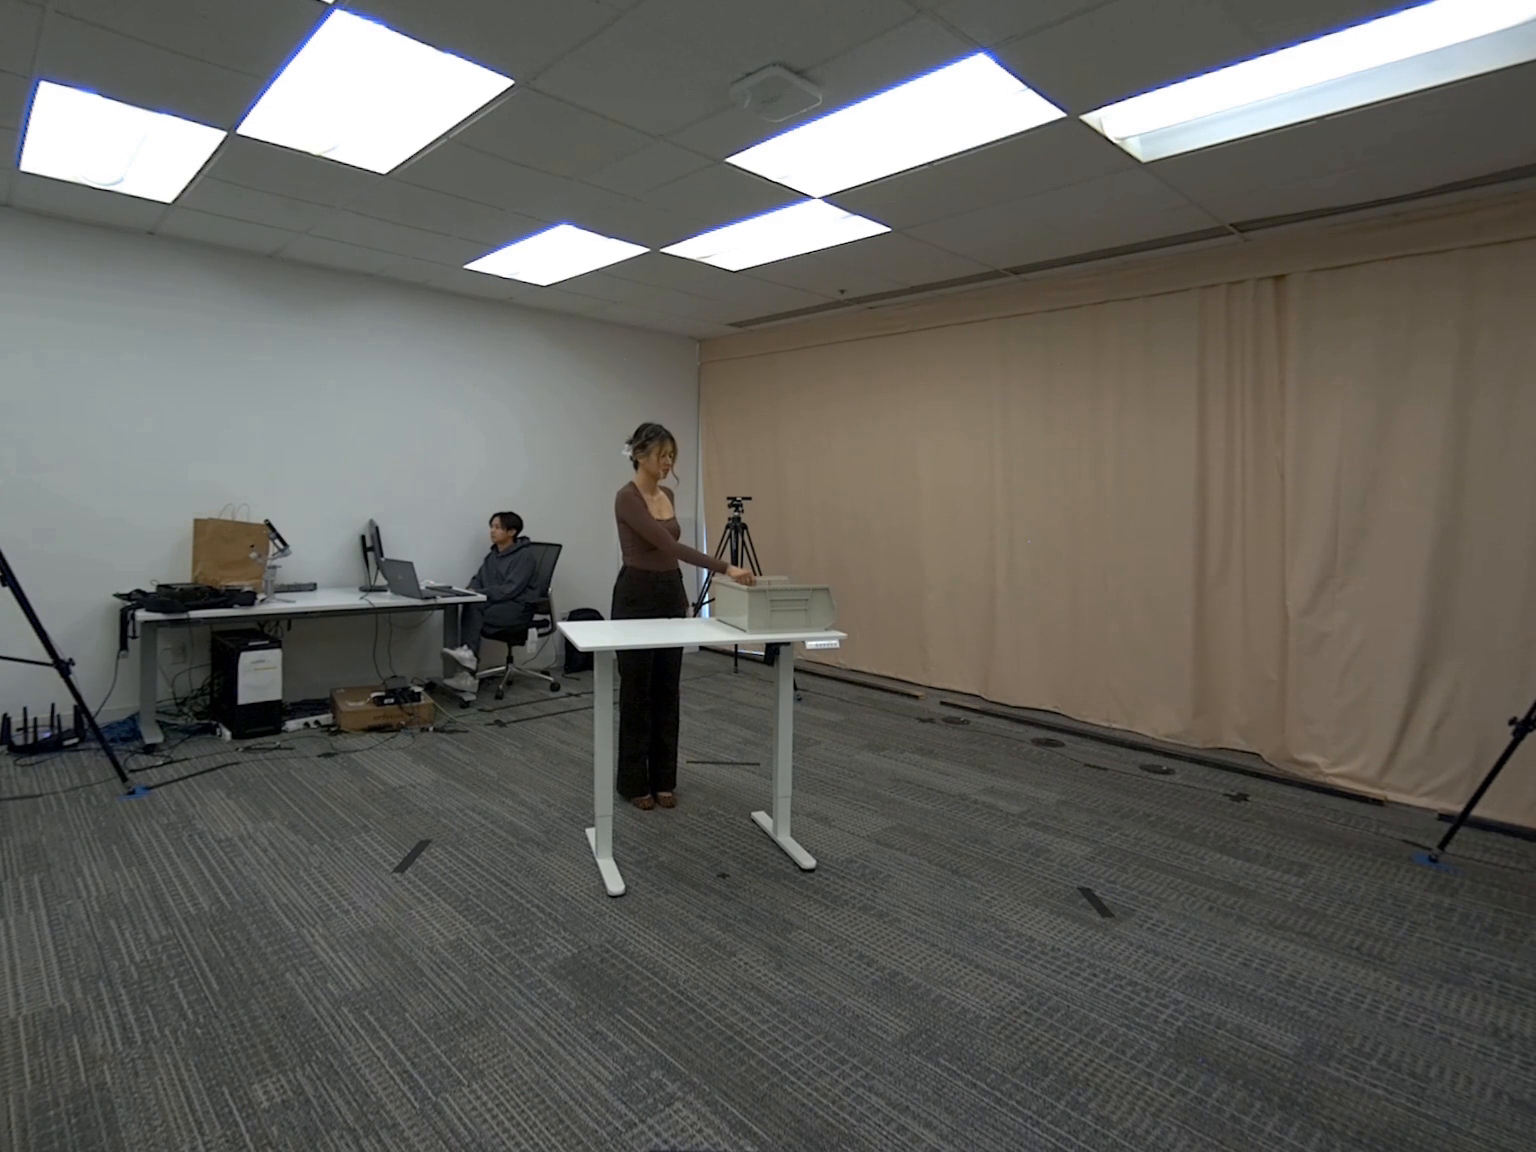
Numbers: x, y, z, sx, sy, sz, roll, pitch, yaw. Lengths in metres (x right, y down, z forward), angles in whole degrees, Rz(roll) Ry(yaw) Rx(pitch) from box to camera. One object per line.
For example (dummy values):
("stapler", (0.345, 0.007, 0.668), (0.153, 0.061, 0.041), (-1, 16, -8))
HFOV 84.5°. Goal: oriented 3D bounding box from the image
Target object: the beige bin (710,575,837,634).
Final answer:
("beige bin", (0.011, 0.111, 3.378), (0.372, 0.188, 0.430), (-2, 6, -21))
